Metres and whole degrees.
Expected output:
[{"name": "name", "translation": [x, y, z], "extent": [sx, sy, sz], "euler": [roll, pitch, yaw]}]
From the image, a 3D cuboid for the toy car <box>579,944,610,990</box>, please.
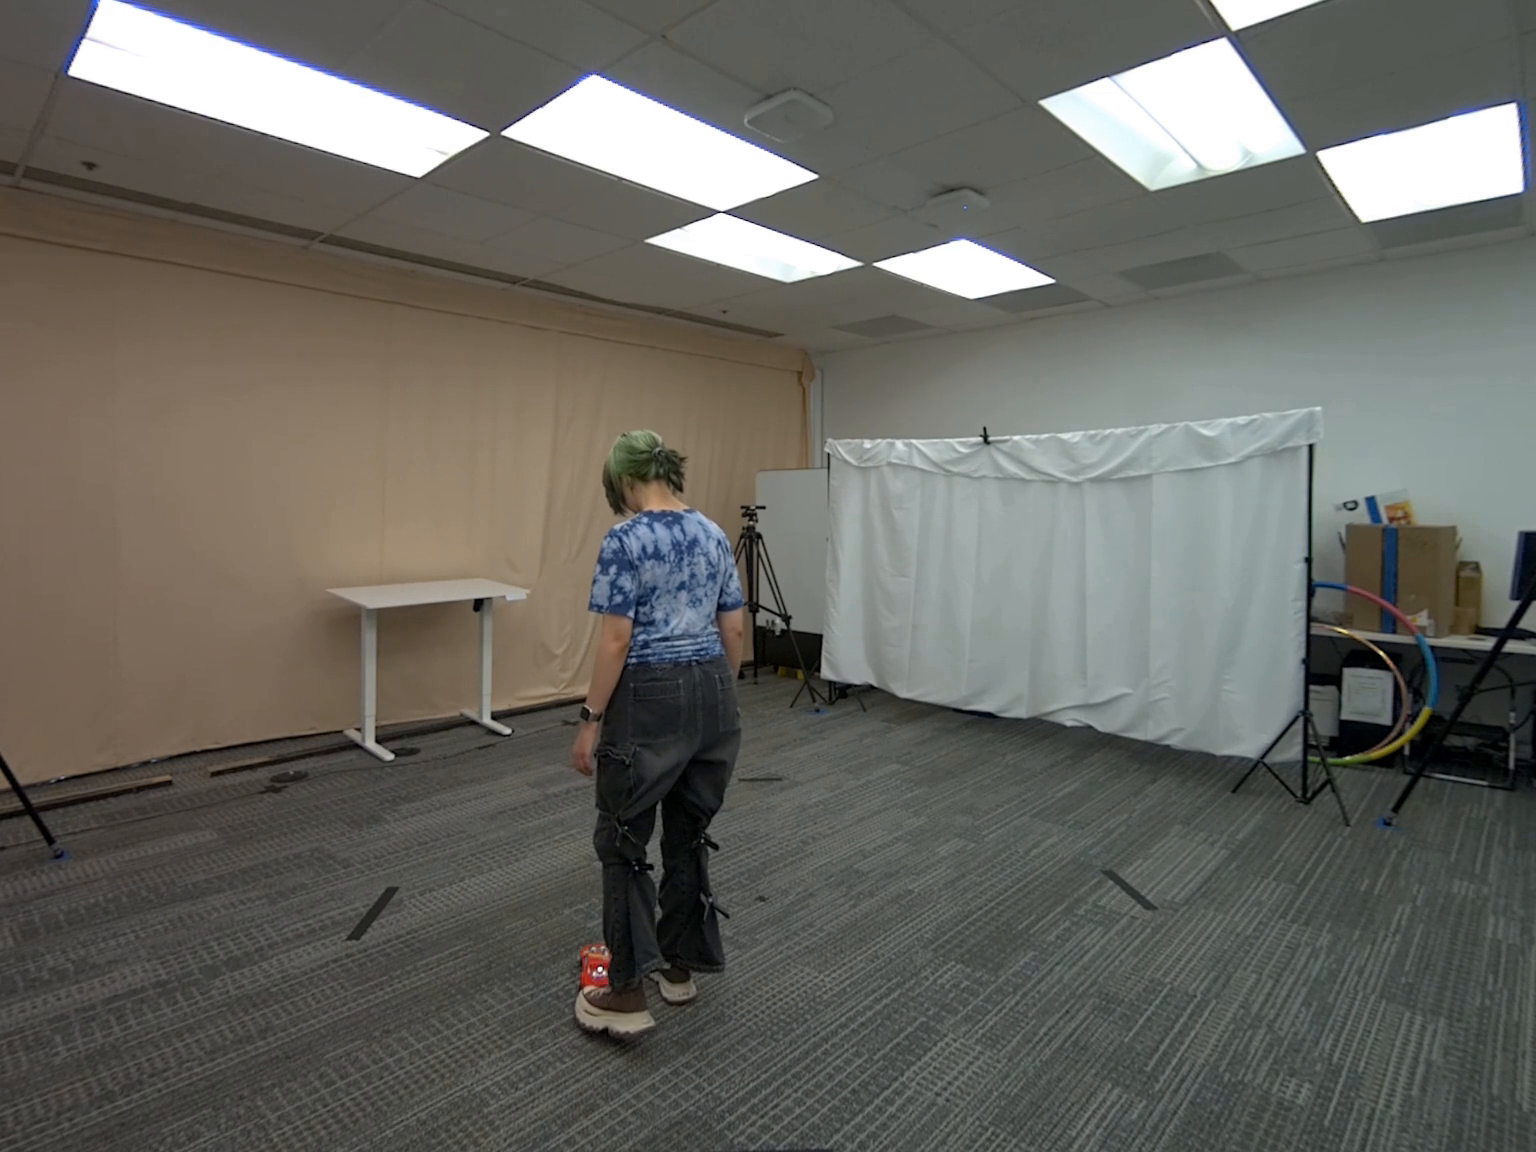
[{"name": "toy car", "translation": [-0.493, 1.158, 2.474], "extent": [0.129, 0.083, 0.256], "euler": [-2, -6, -10]}]
